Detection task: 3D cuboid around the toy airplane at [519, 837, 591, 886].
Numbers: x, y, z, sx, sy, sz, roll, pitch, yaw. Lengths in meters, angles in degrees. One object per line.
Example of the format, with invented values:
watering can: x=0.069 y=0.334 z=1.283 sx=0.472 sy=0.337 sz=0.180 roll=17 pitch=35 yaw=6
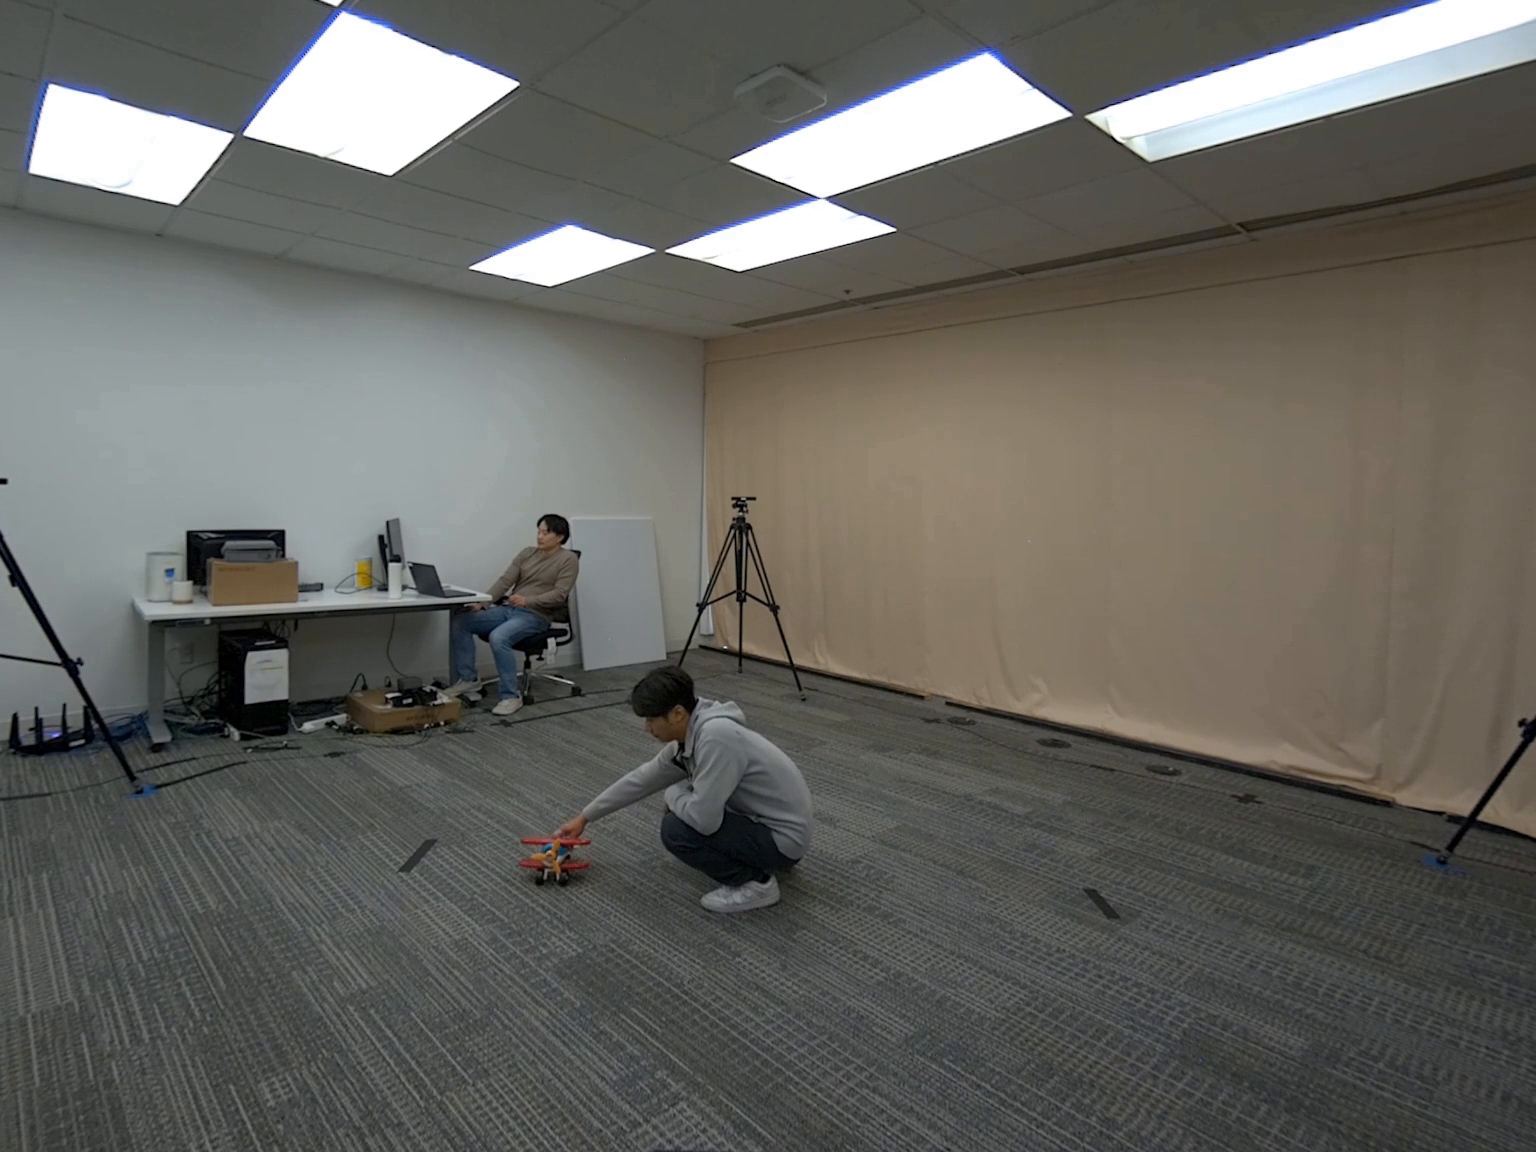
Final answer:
toy airplane: x=-0.795 y=1.016 z=3.085 sx=0.246 sy=0.156 sz=0.265 roll=-1 pitch=6 yaw=-29
